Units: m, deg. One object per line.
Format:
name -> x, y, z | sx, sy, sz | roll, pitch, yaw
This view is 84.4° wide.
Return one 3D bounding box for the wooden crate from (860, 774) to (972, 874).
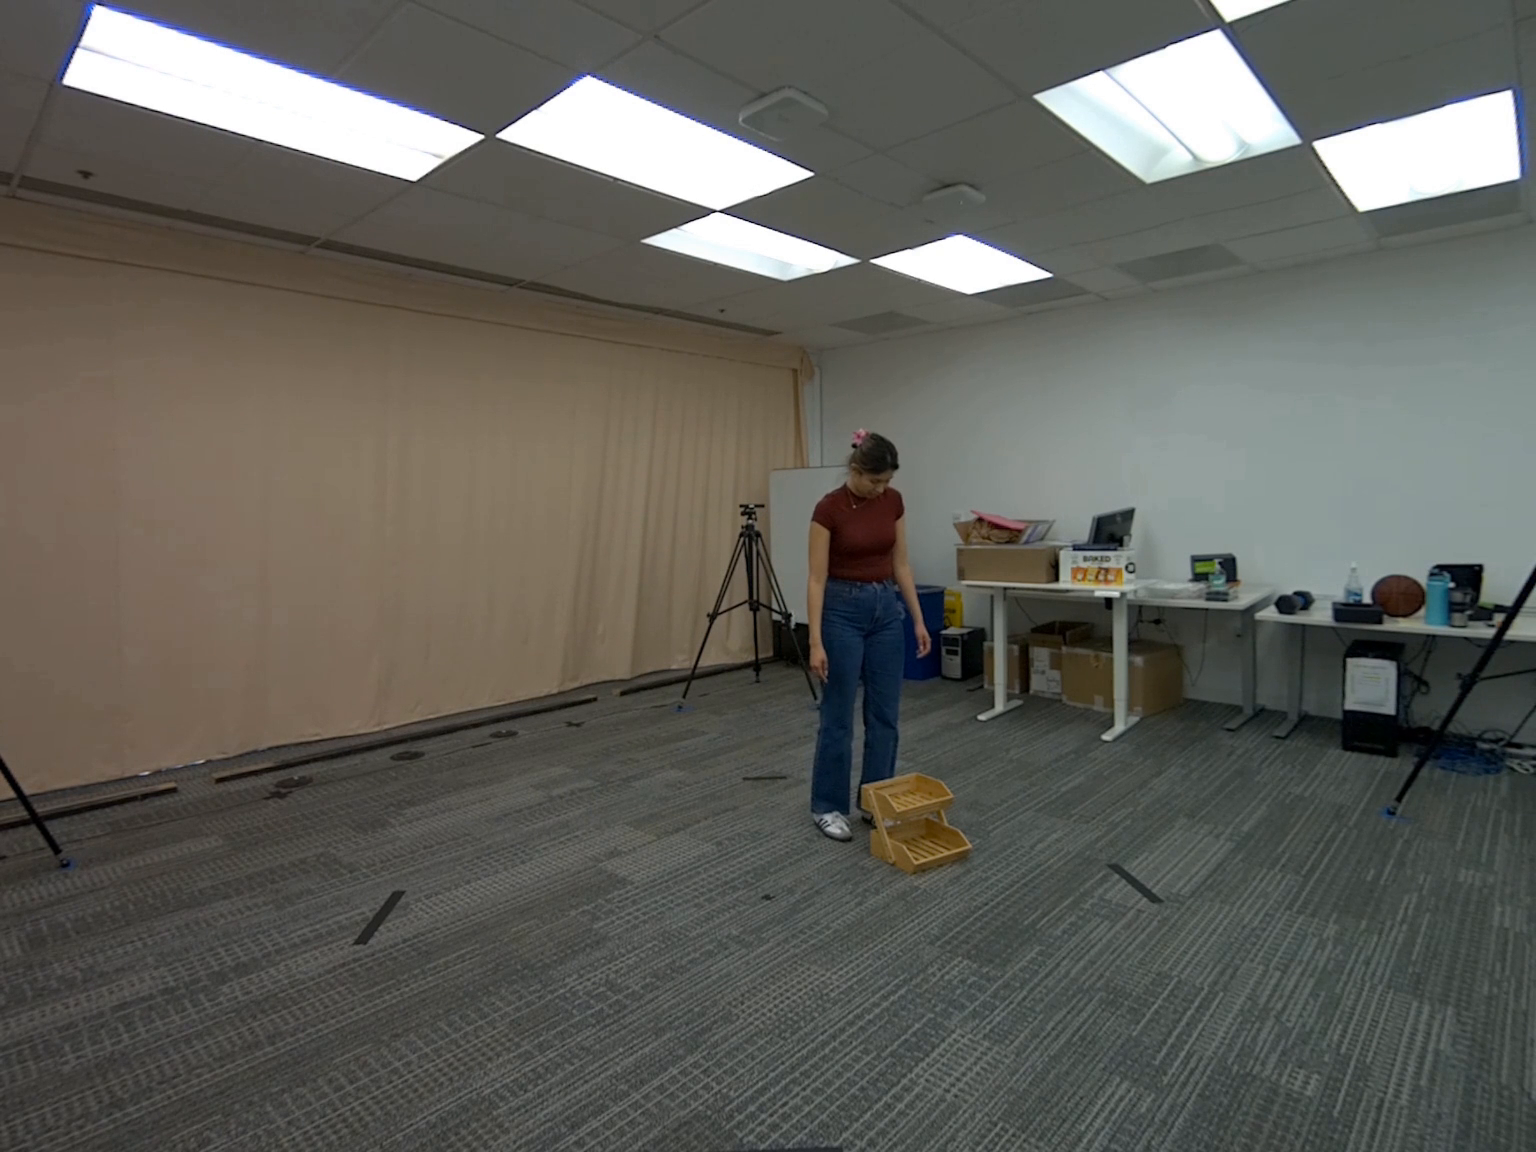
wooden crate -> 0.590, 0.964, 3.327 | 0.315, 0.273, 0.311 | -4, 4, -32
